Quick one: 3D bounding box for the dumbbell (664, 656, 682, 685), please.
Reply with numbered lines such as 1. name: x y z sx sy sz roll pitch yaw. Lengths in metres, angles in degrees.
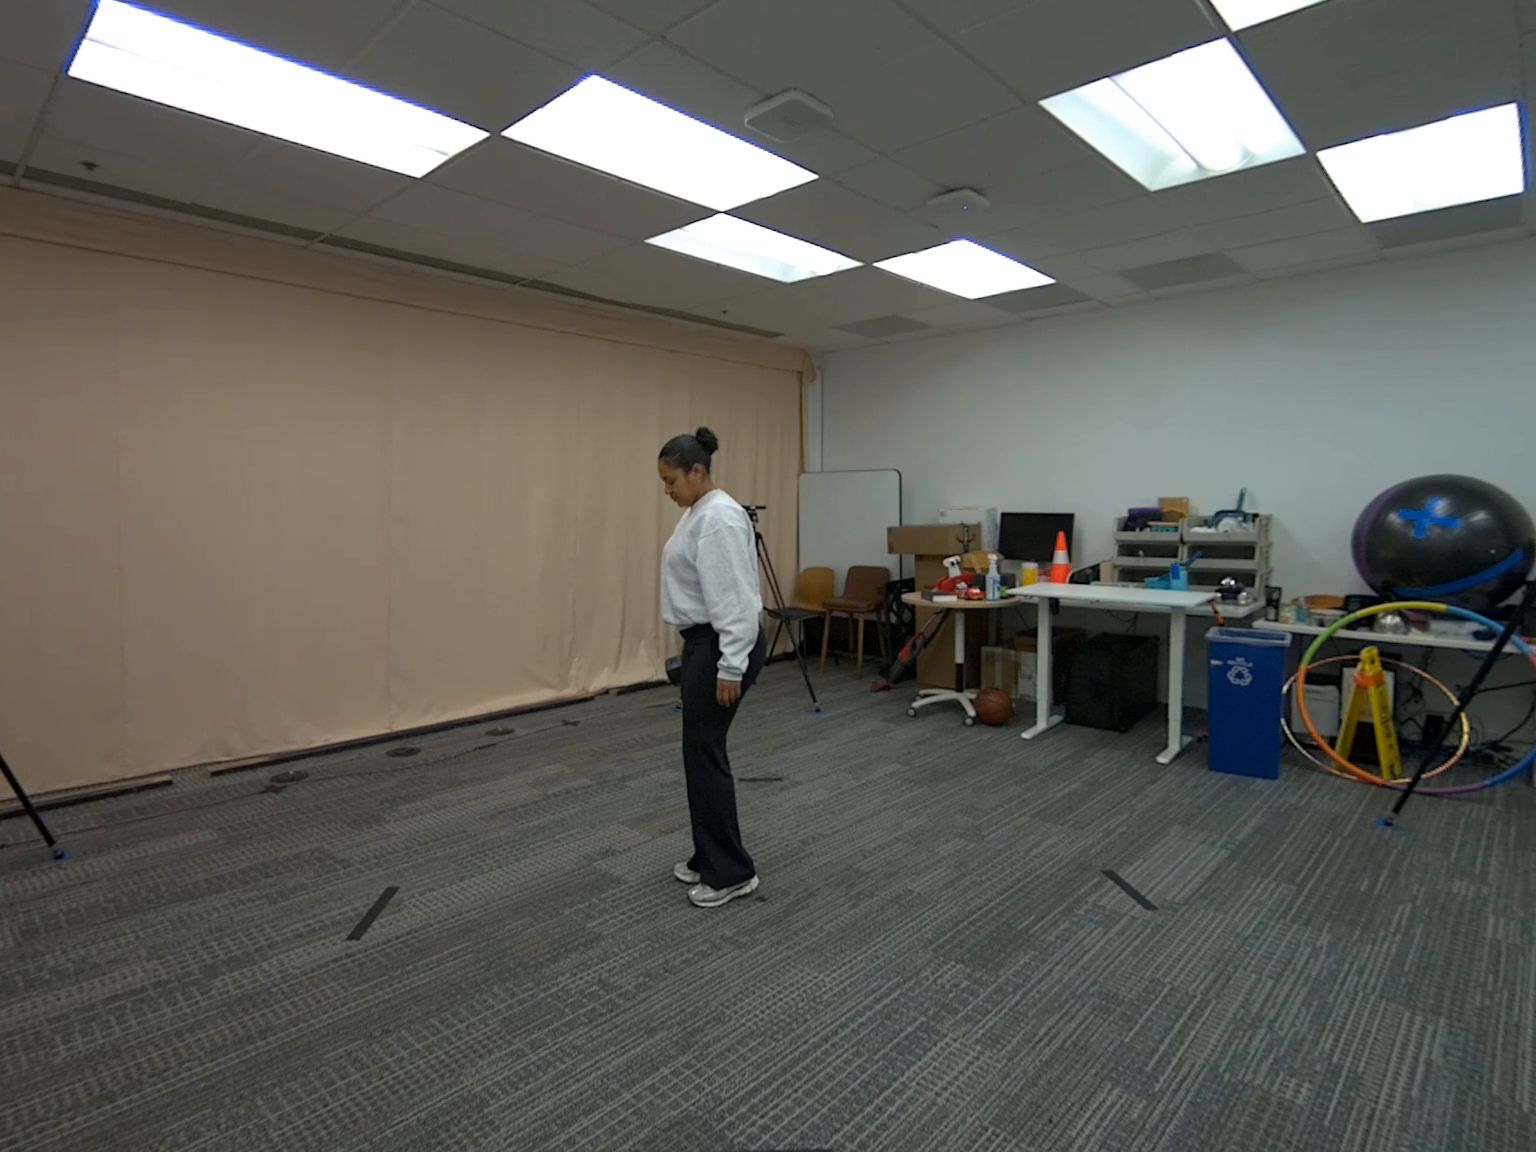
1. dumbbell: -0.253 0.346 3.333 0.295 0.122 0.109 -18 8 6
